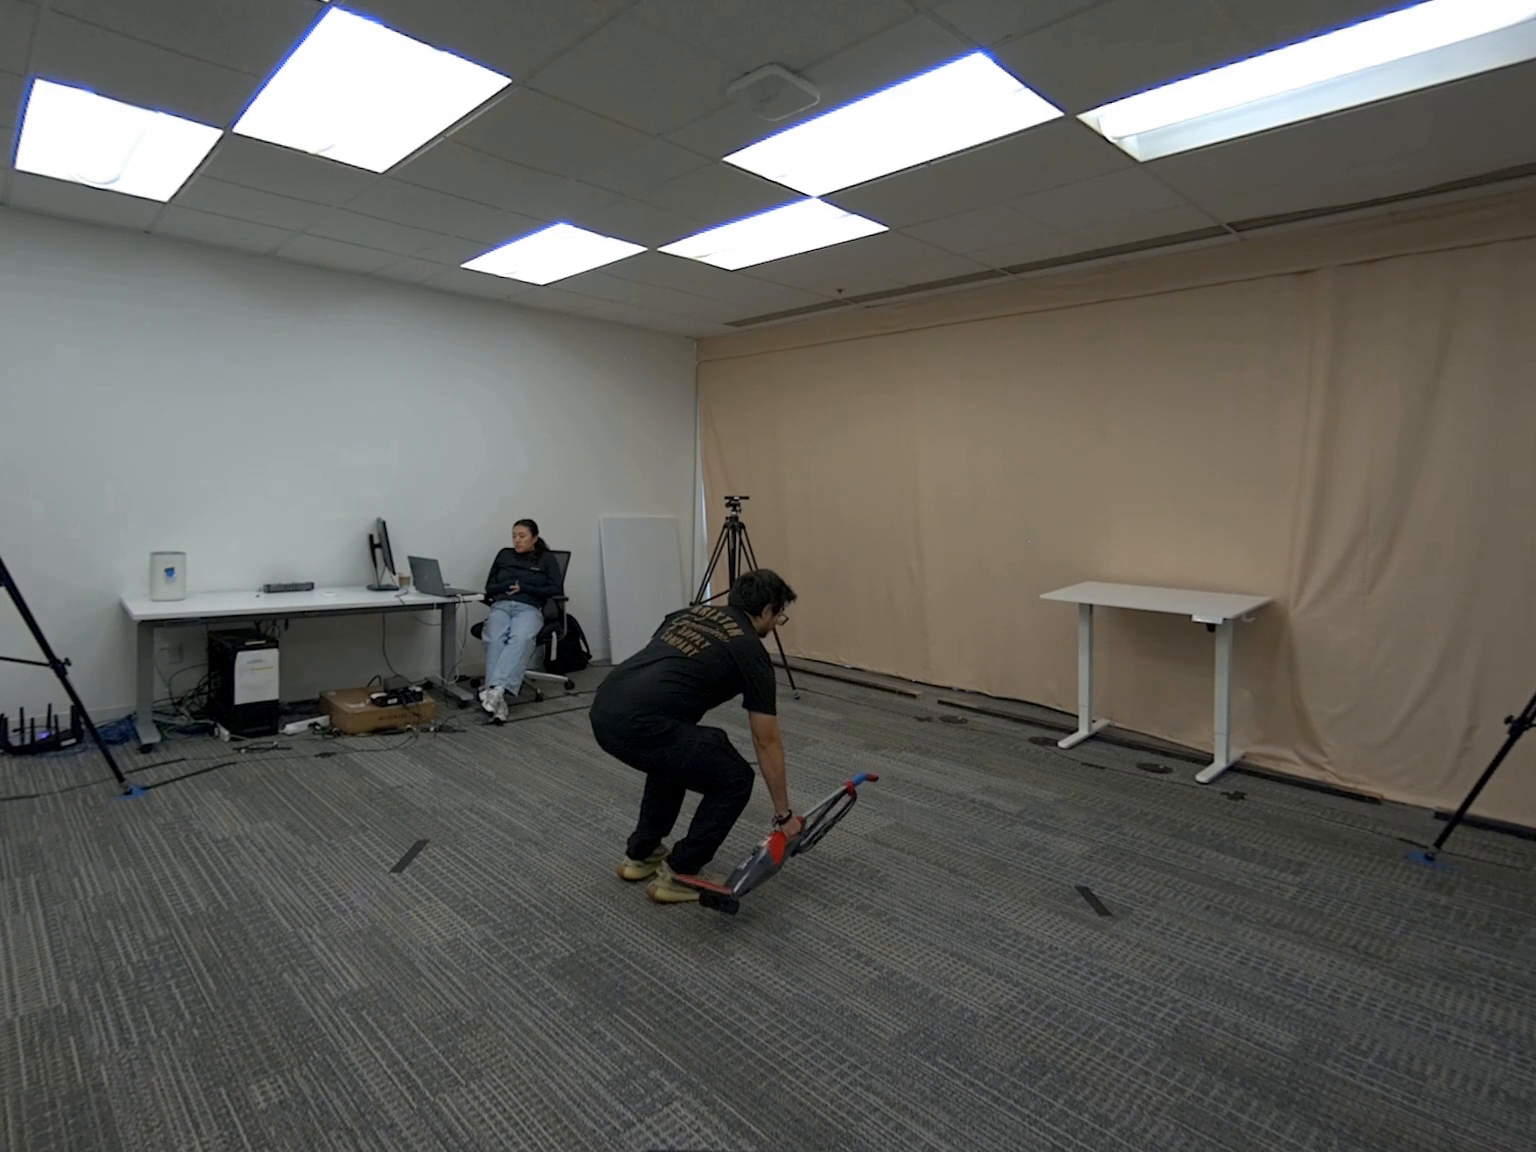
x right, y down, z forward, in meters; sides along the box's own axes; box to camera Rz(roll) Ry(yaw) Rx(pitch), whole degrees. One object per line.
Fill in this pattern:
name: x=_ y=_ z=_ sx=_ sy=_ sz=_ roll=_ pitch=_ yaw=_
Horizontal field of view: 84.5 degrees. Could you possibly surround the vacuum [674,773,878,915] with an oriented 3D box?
vacuum: x=0.130 y=0.927 z=3.060 sx=0.258 sy=0.143 sz=1.031 roll=-1 pitch=9 yaw=38
